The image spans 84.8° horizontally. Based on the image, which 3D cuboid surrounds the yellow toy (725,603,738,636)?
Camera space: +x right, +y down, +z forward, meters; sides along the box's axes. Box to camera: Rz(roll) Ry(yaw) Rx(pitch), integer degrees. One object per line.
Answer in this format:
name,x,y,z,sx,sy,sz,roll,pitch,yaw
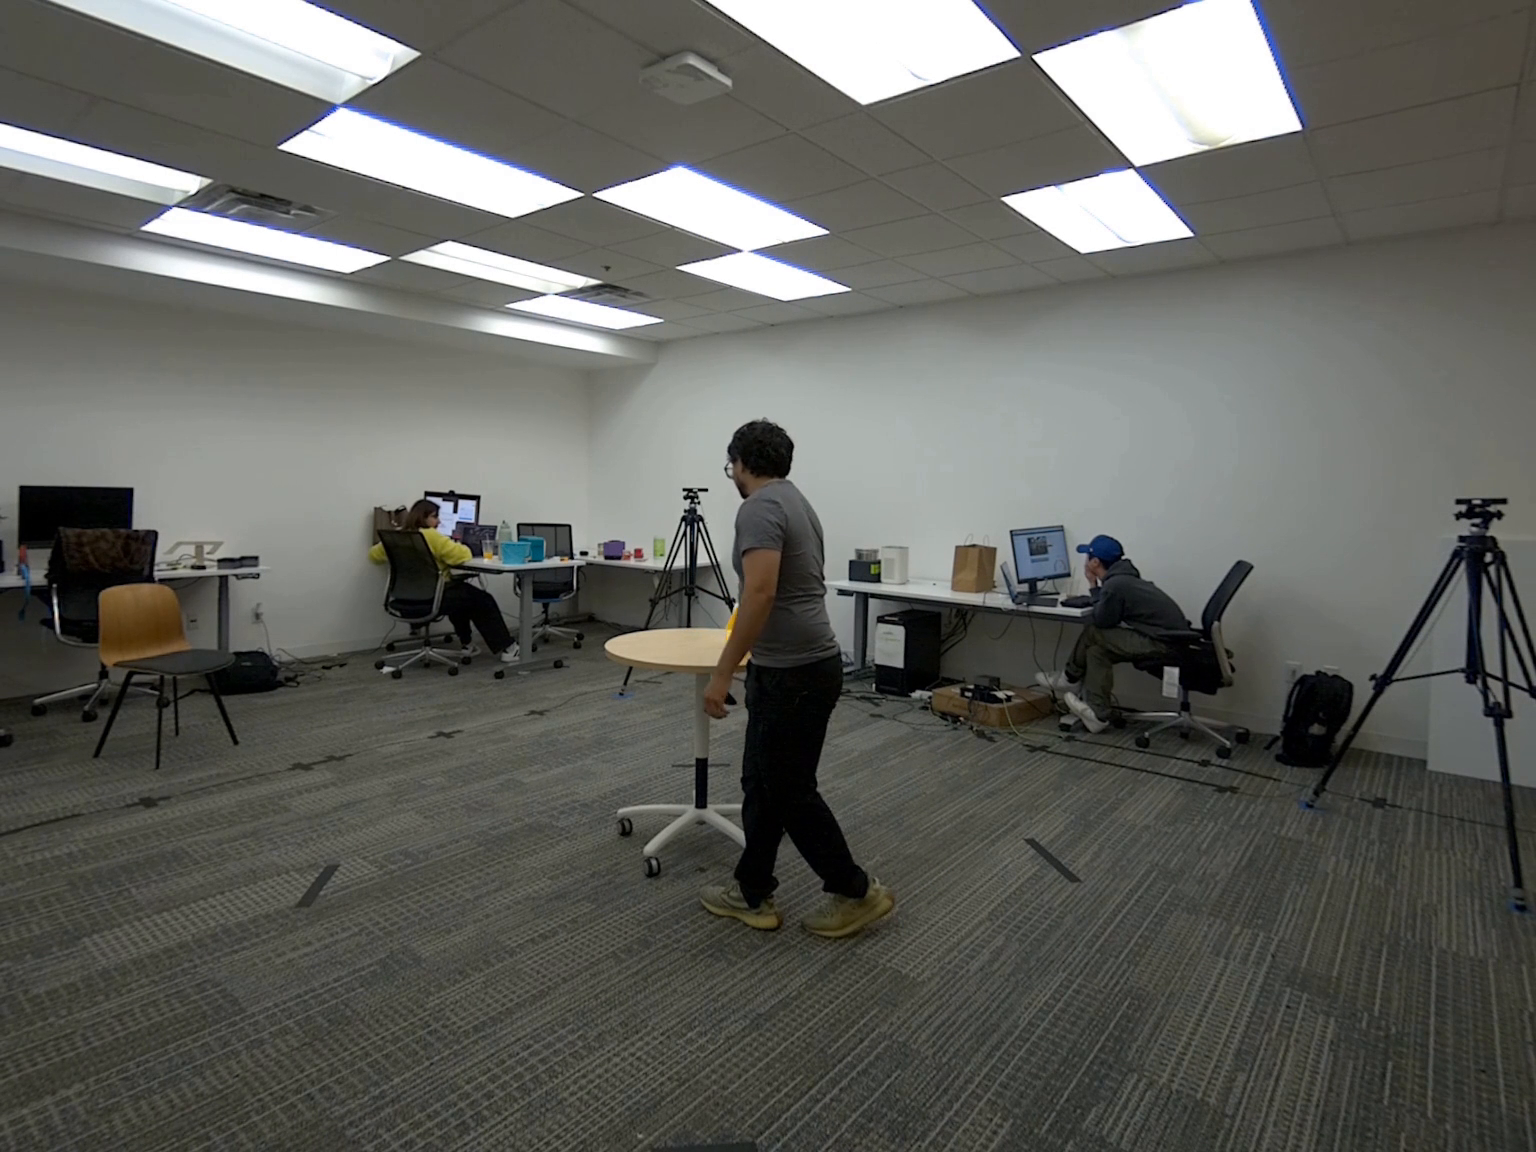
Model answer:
yellow toy,-0.073,0.153,3.302,0.205,0.230,0.193,2,4,0
